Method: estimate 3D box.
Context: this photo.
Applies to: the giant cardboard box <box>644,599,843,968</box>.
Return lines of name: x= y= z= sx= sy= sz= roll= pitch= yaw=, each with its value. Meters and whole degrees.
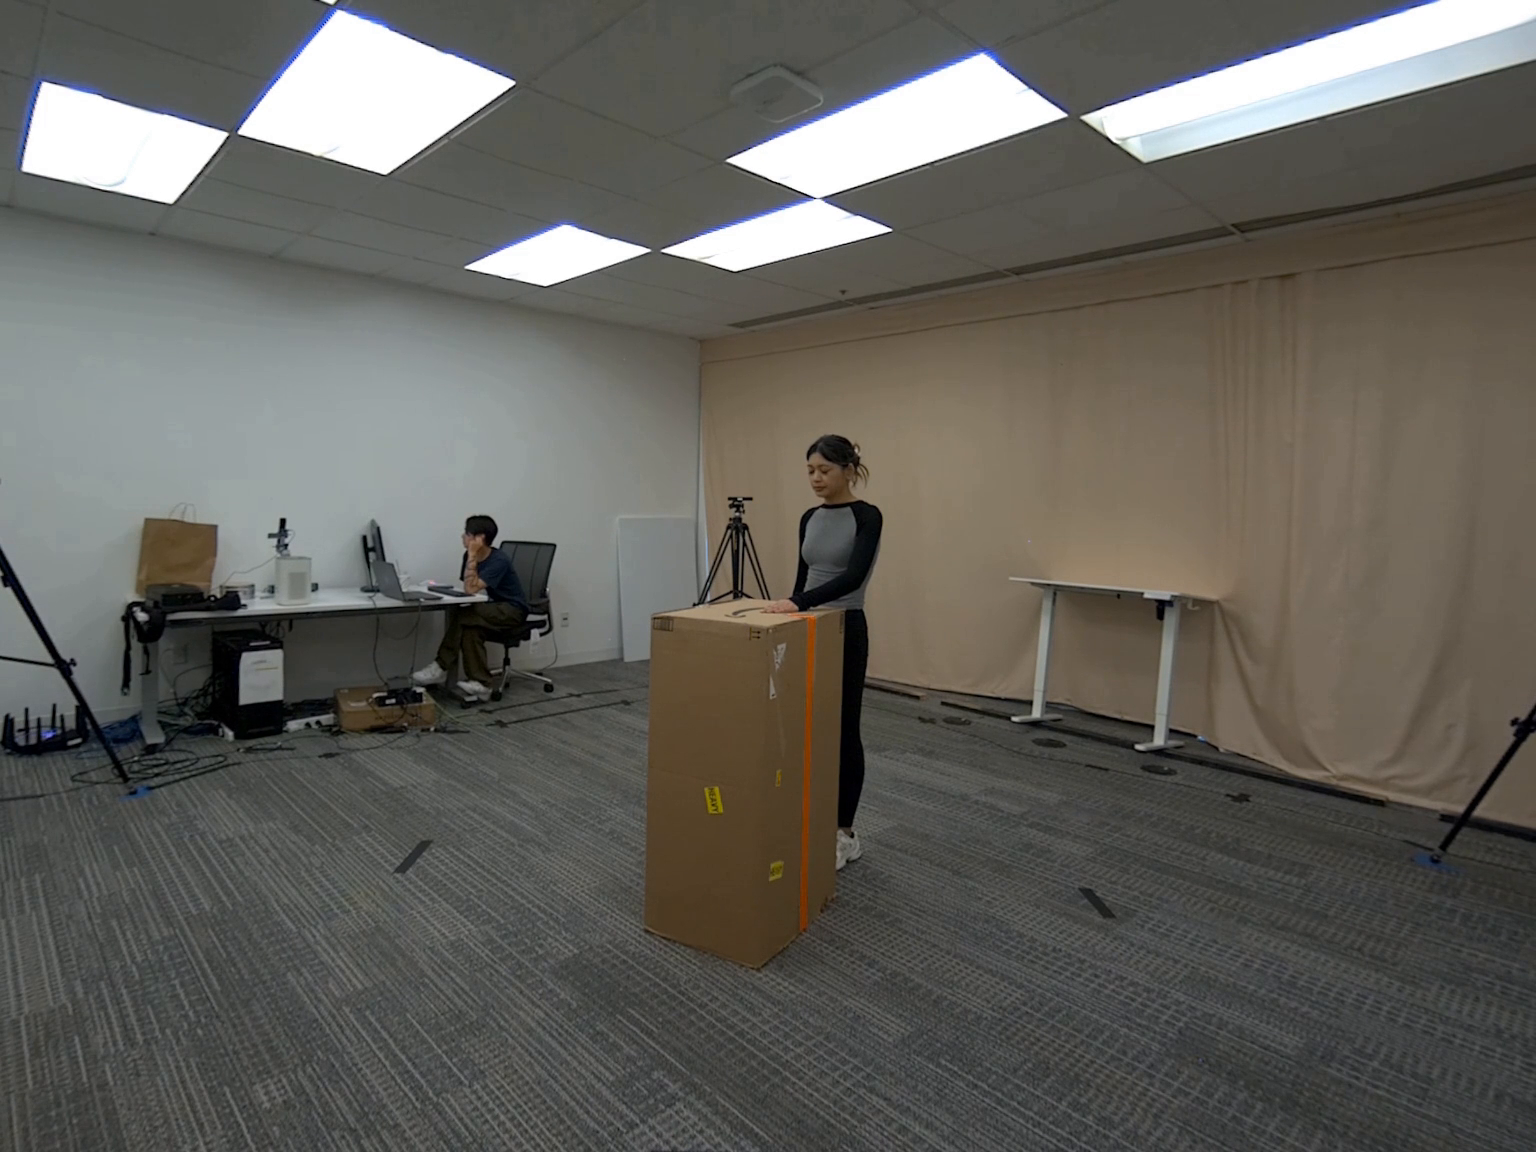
giant cardboard box: x=-0.070 y=0.631 z=2.804 sx=0.456 sy=1.025 sz=0.573 roll=2 pitch=3 yaw=29
